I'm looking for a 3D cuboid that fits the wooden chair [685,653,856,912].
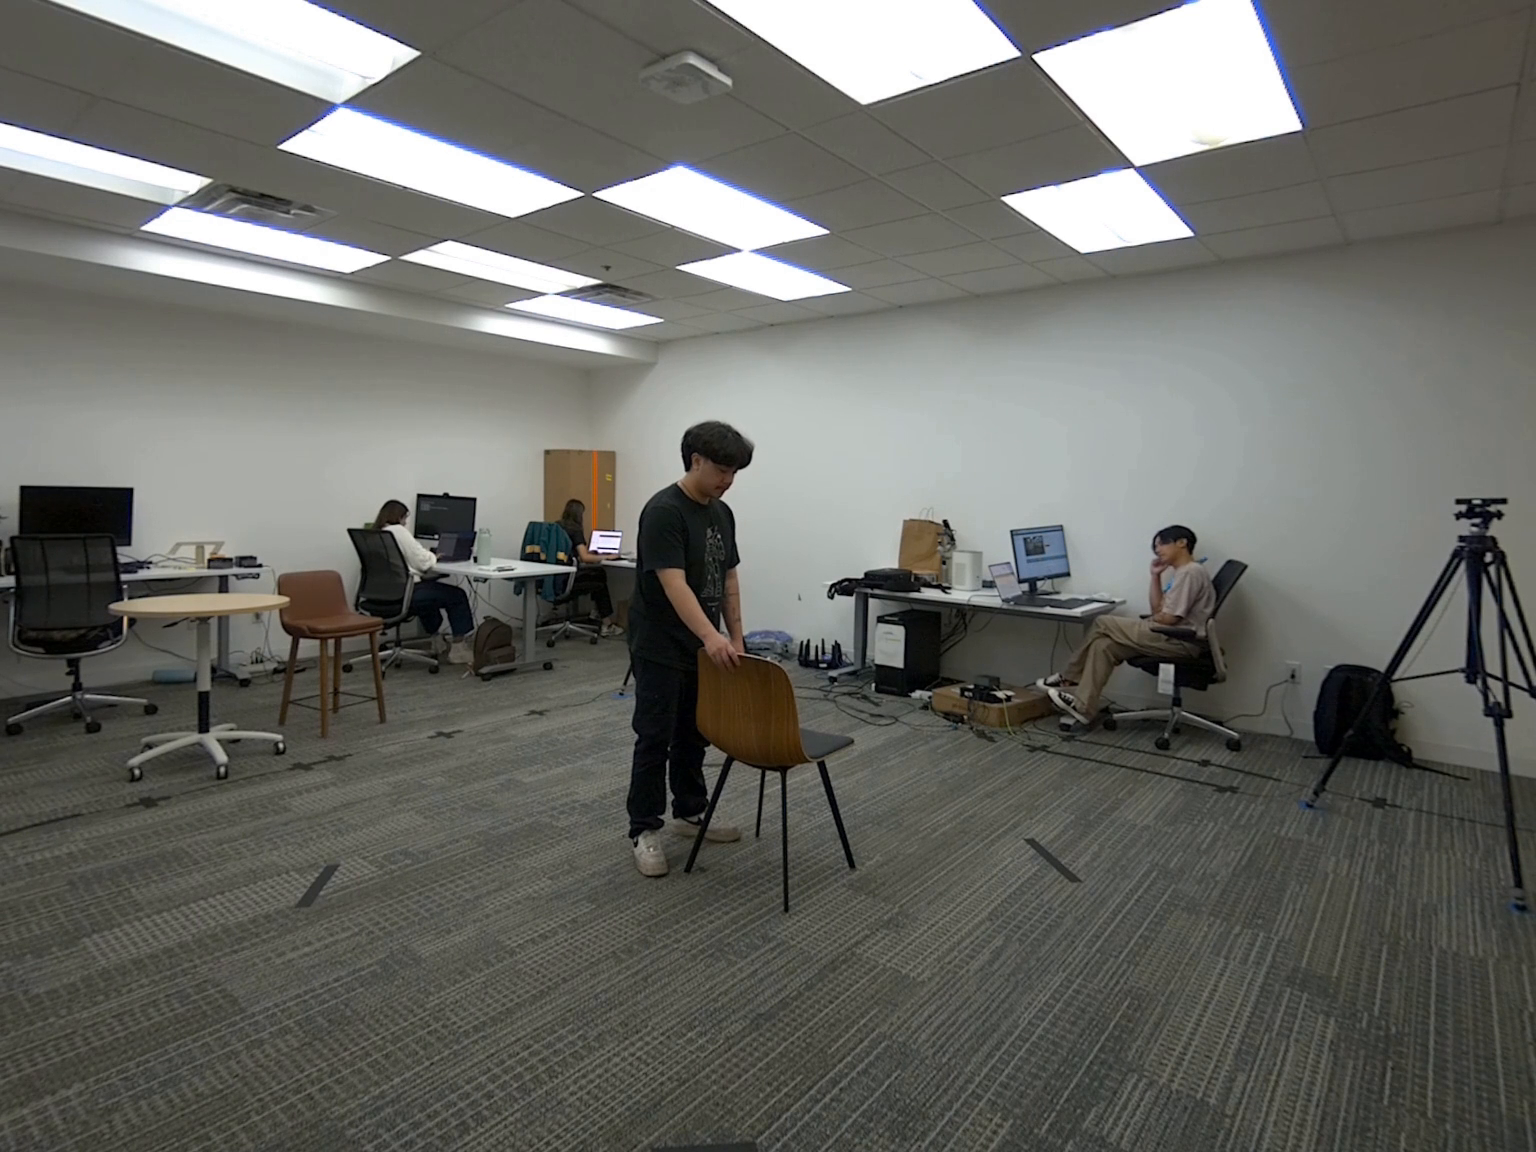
[{"bbox_3d":[0.015,0.647,3.087,0.494,0.872,0.510,3,8,37],"label":"wooden chair"}]
